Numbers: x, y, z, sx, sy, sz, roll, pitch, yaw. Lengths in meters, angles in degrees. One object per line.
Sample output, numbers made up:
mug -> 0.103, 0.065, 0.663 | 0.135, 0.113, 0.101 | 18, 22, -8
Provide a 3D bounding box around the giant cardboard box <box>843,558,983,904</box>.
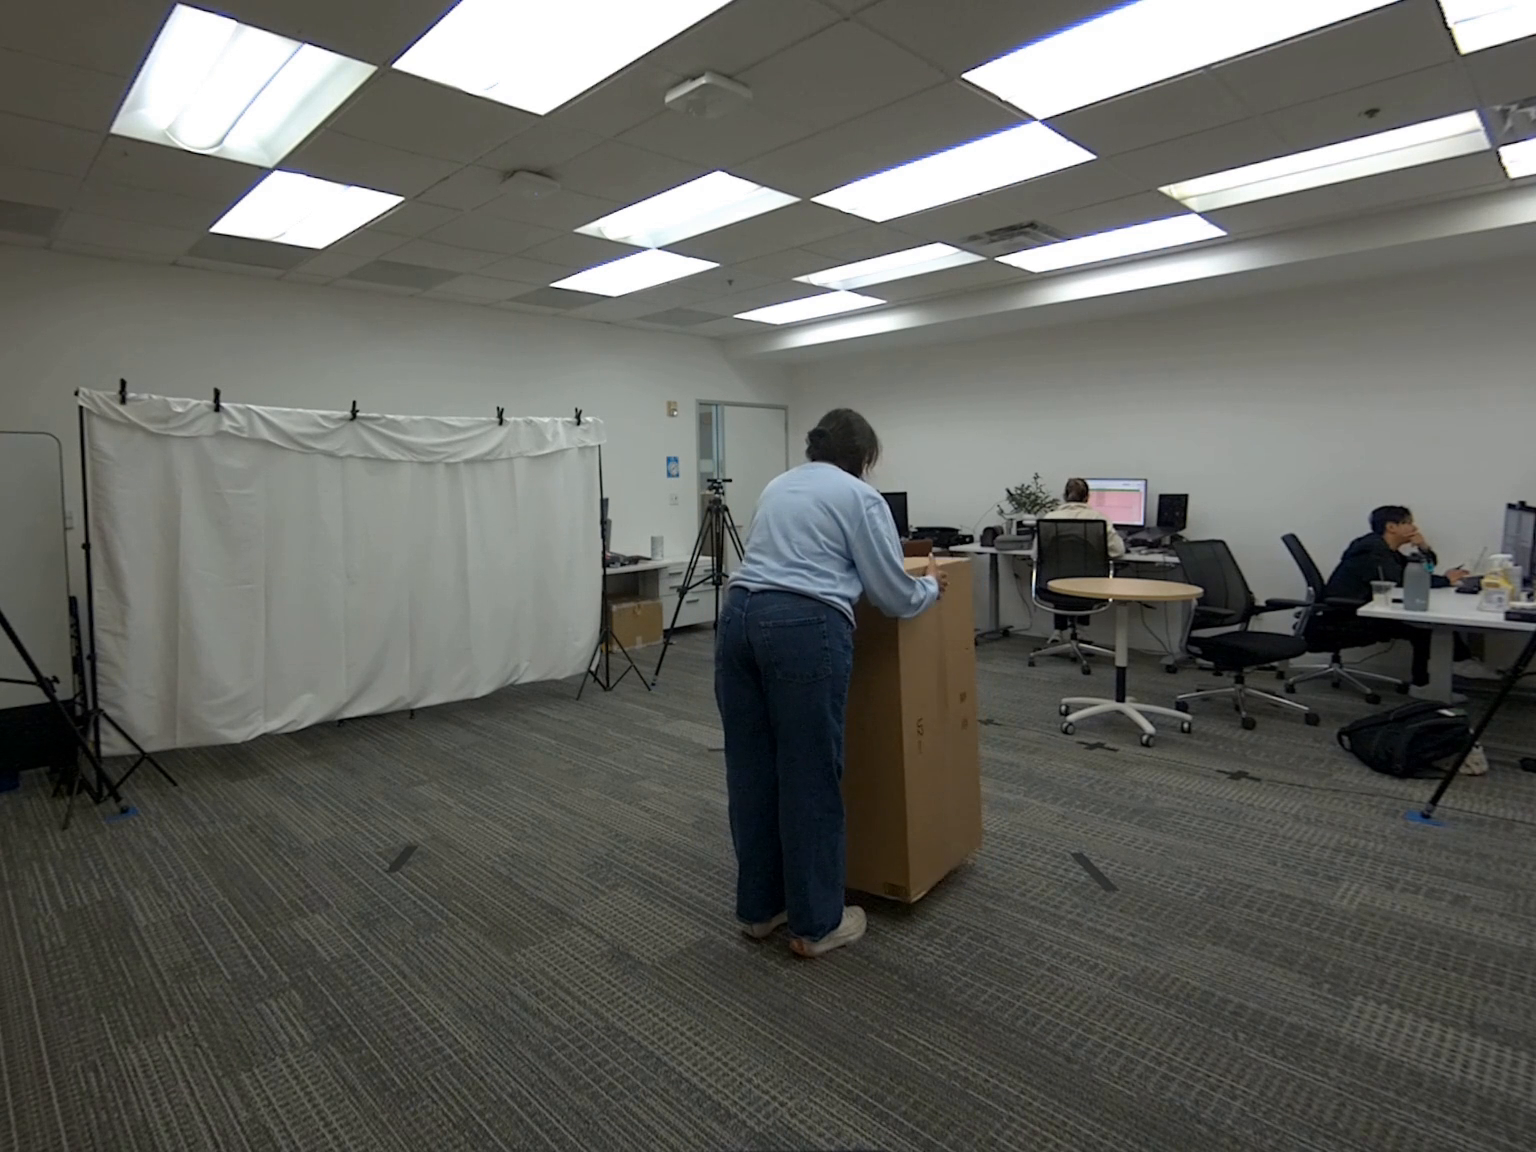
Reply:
giant cardboard box -> 0.412, 0.467, 2.958 | 0.459, 1.025, 0.569 | -2, 2, 38
